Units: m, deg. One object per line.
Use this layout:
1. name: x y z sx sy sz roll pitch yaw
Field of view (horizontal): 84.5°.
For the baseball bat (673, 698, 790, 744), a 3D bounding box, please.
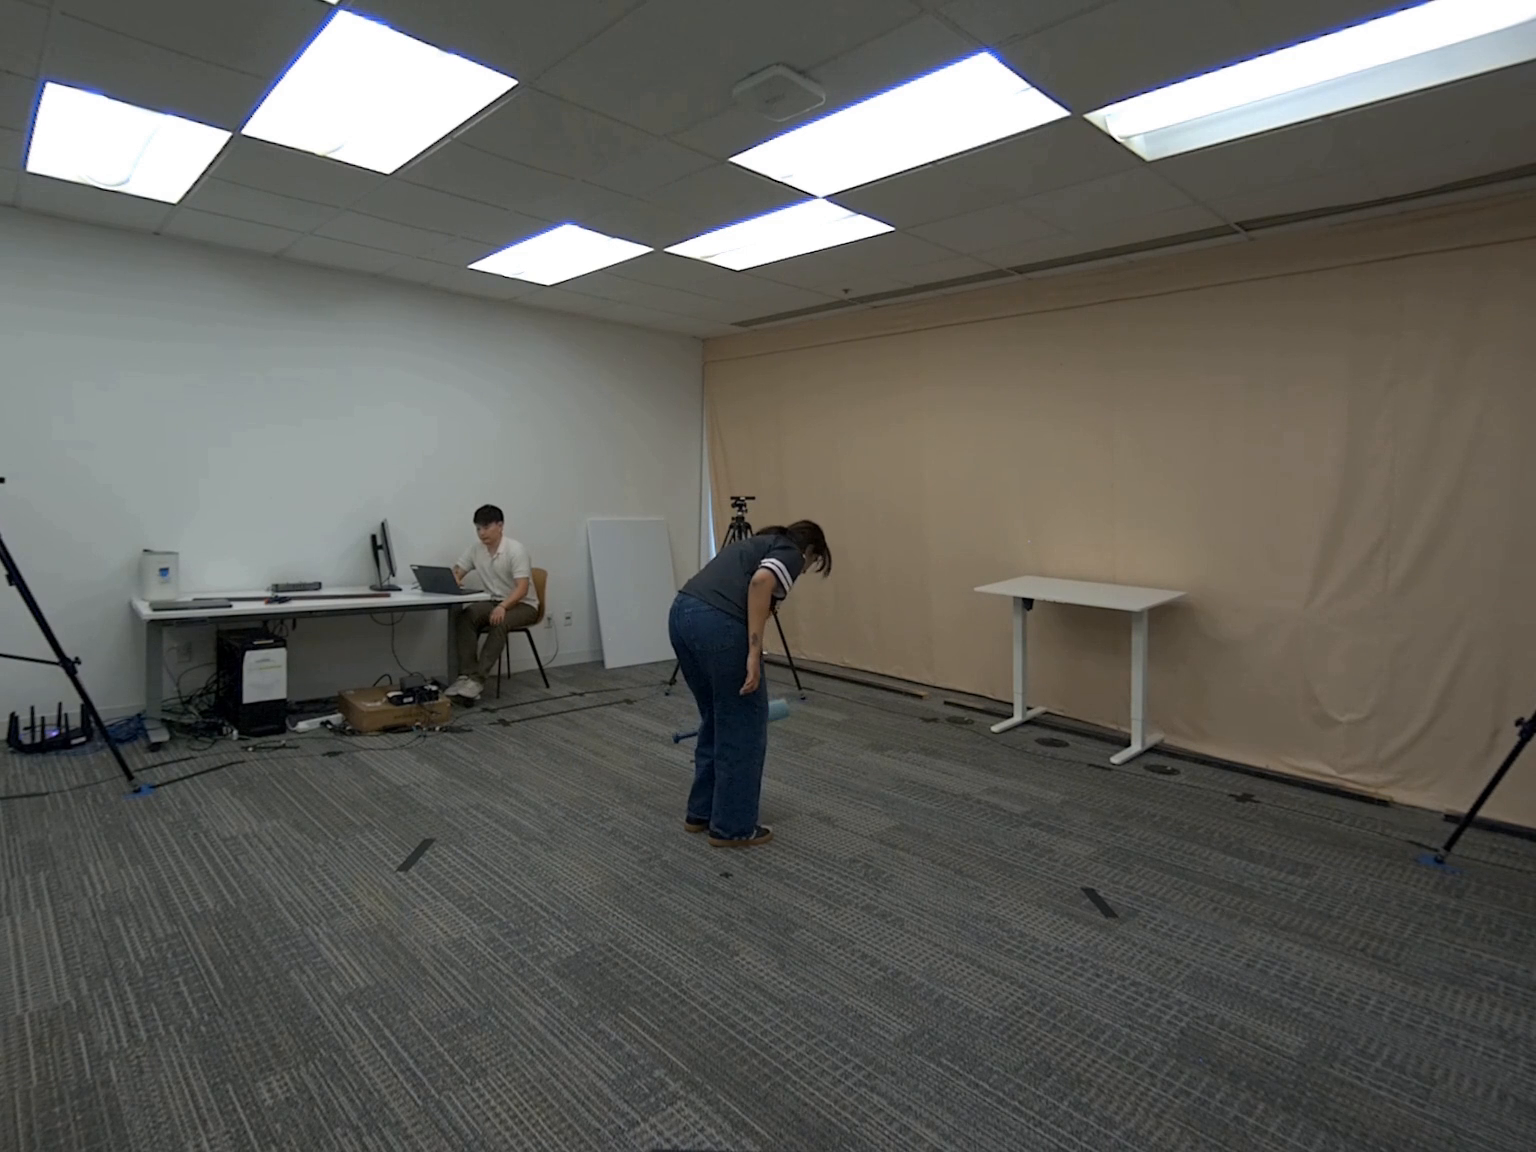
1. baseball bat: -0.191 0.677 3.810 0.541 0.088 0.090 -14 6 -5
